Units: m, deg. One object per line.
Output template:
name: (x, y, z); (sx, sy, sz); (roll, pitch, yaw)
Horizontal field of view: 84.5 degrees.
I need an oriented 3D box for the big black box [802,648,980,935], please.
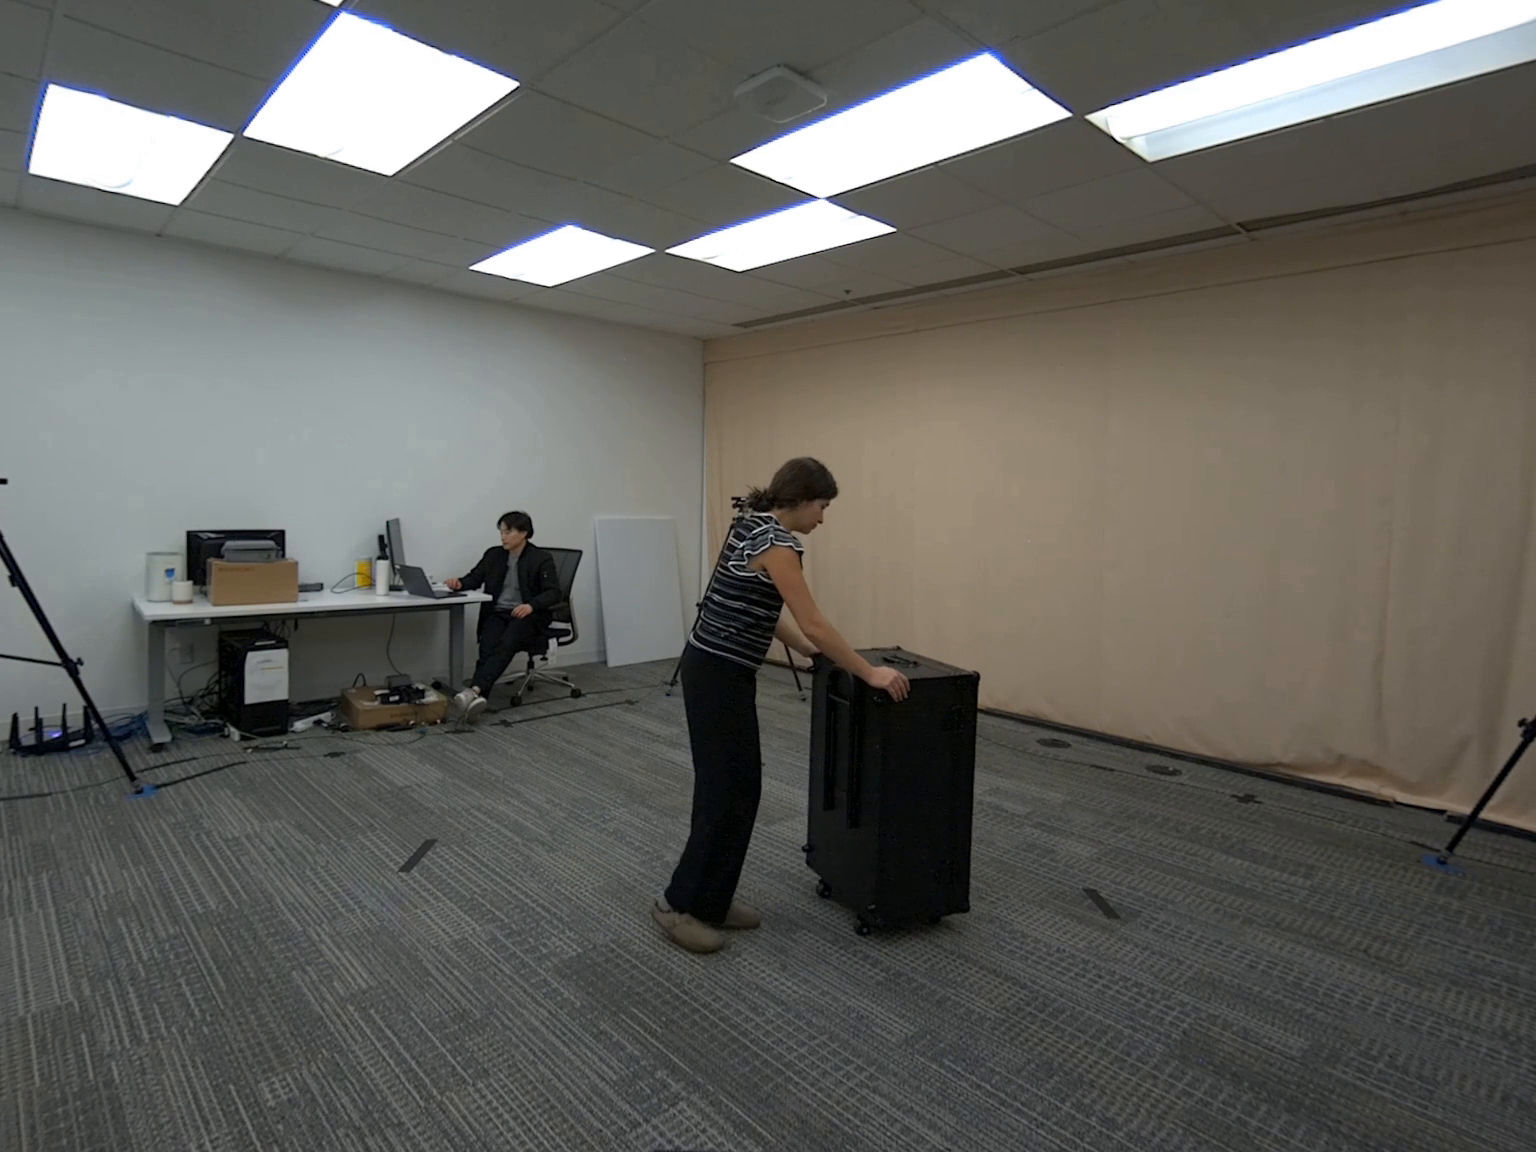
big black box: (0.393, 0.715, 2.859); (0.390, 0.859, 0.531); (0, 5, -23)
